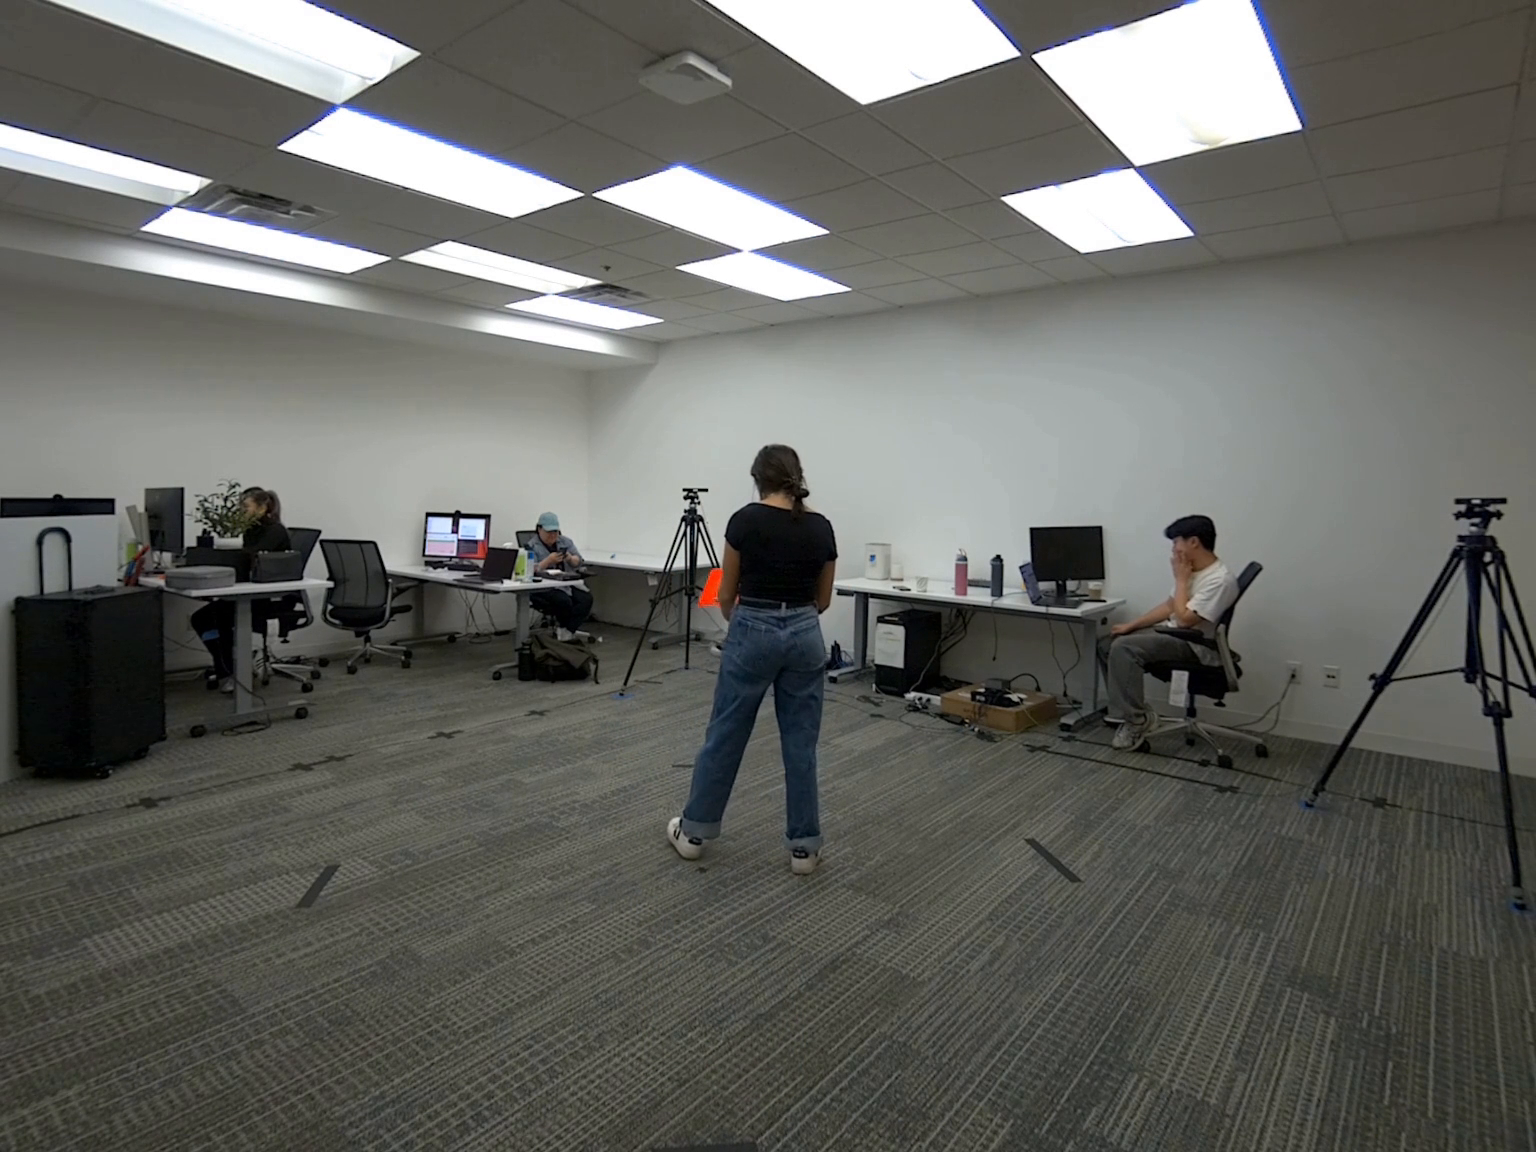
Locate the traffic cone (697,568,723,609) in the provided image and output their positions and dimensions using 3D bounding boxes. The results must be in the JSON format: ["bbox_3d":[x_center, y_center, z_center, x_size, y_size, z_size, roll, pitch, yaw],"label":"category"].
[{"bbox_3d":[-0.085,0.173,3.508,0.197,0.202,0.400,-2,39,-38],"label":"traffic cone"}]
